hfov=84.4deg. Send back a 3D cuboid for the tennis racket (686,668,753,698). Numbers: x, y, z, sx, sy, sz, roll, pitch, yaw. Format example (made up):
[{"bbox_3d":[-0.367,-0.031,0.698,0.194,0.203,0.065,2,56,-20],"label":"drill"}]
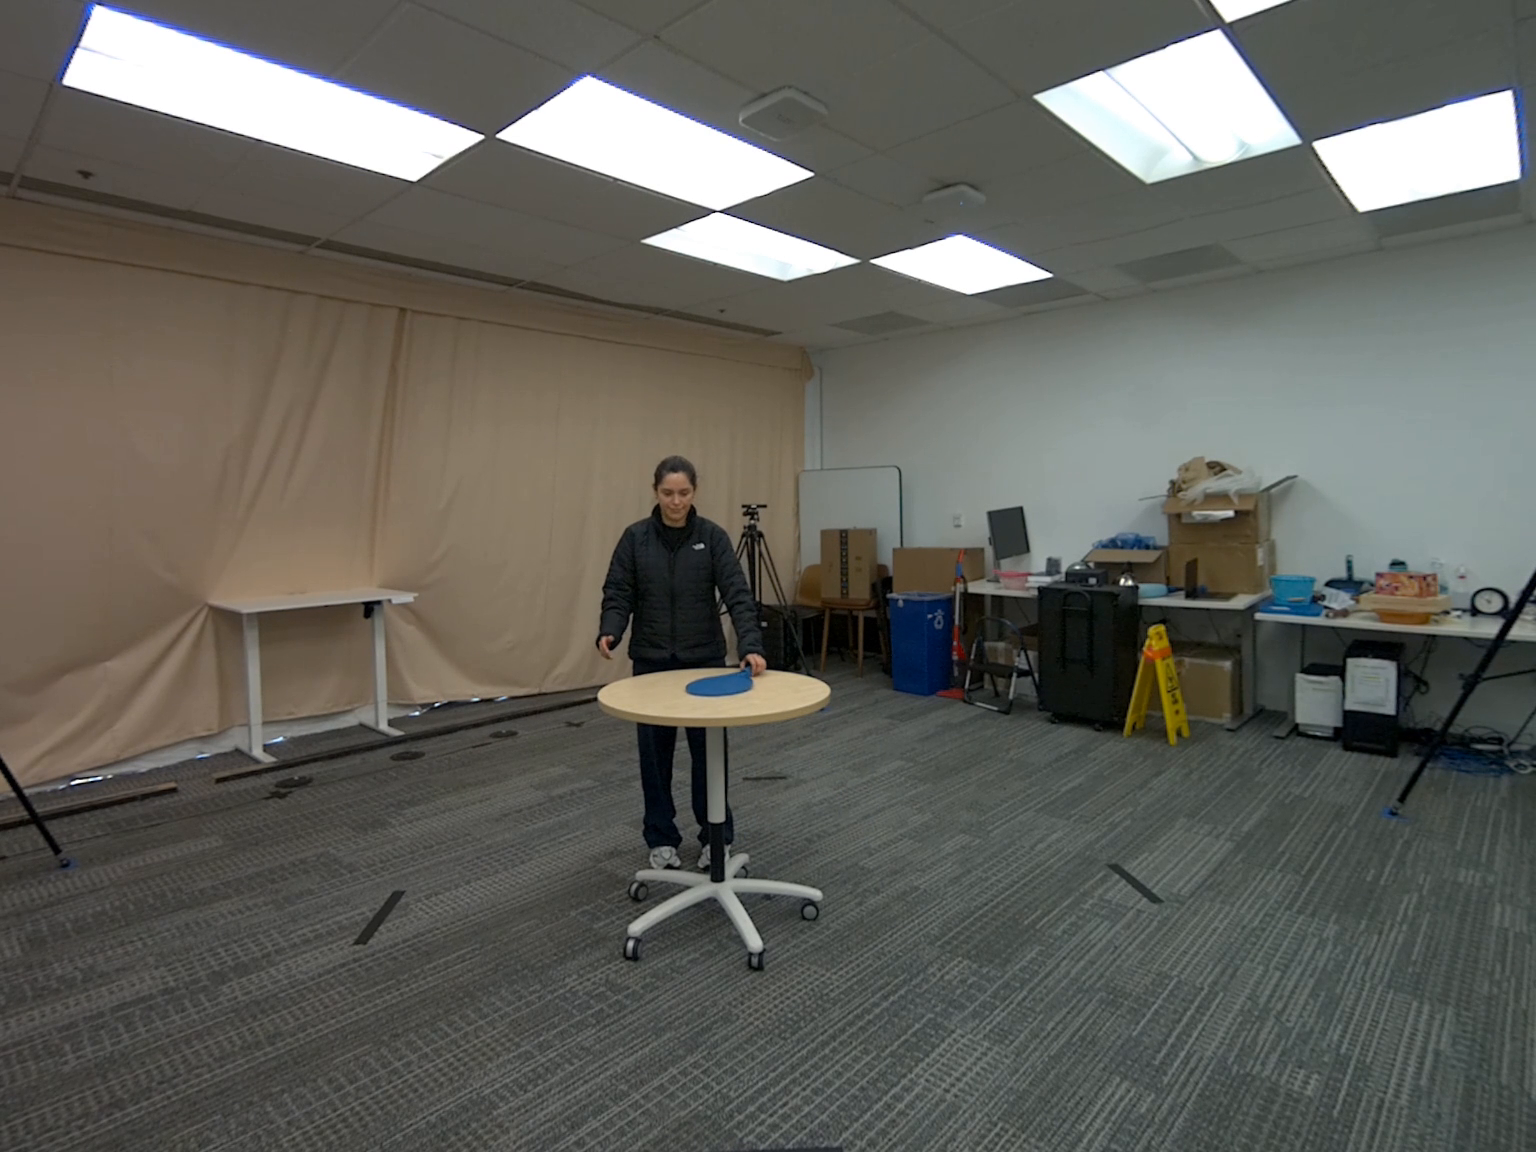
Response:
[{"bbox_3d":[-0.122,0.345,2.874,0.220,0.031,0.422,2,8,29],"label":"tennis racket"}]
